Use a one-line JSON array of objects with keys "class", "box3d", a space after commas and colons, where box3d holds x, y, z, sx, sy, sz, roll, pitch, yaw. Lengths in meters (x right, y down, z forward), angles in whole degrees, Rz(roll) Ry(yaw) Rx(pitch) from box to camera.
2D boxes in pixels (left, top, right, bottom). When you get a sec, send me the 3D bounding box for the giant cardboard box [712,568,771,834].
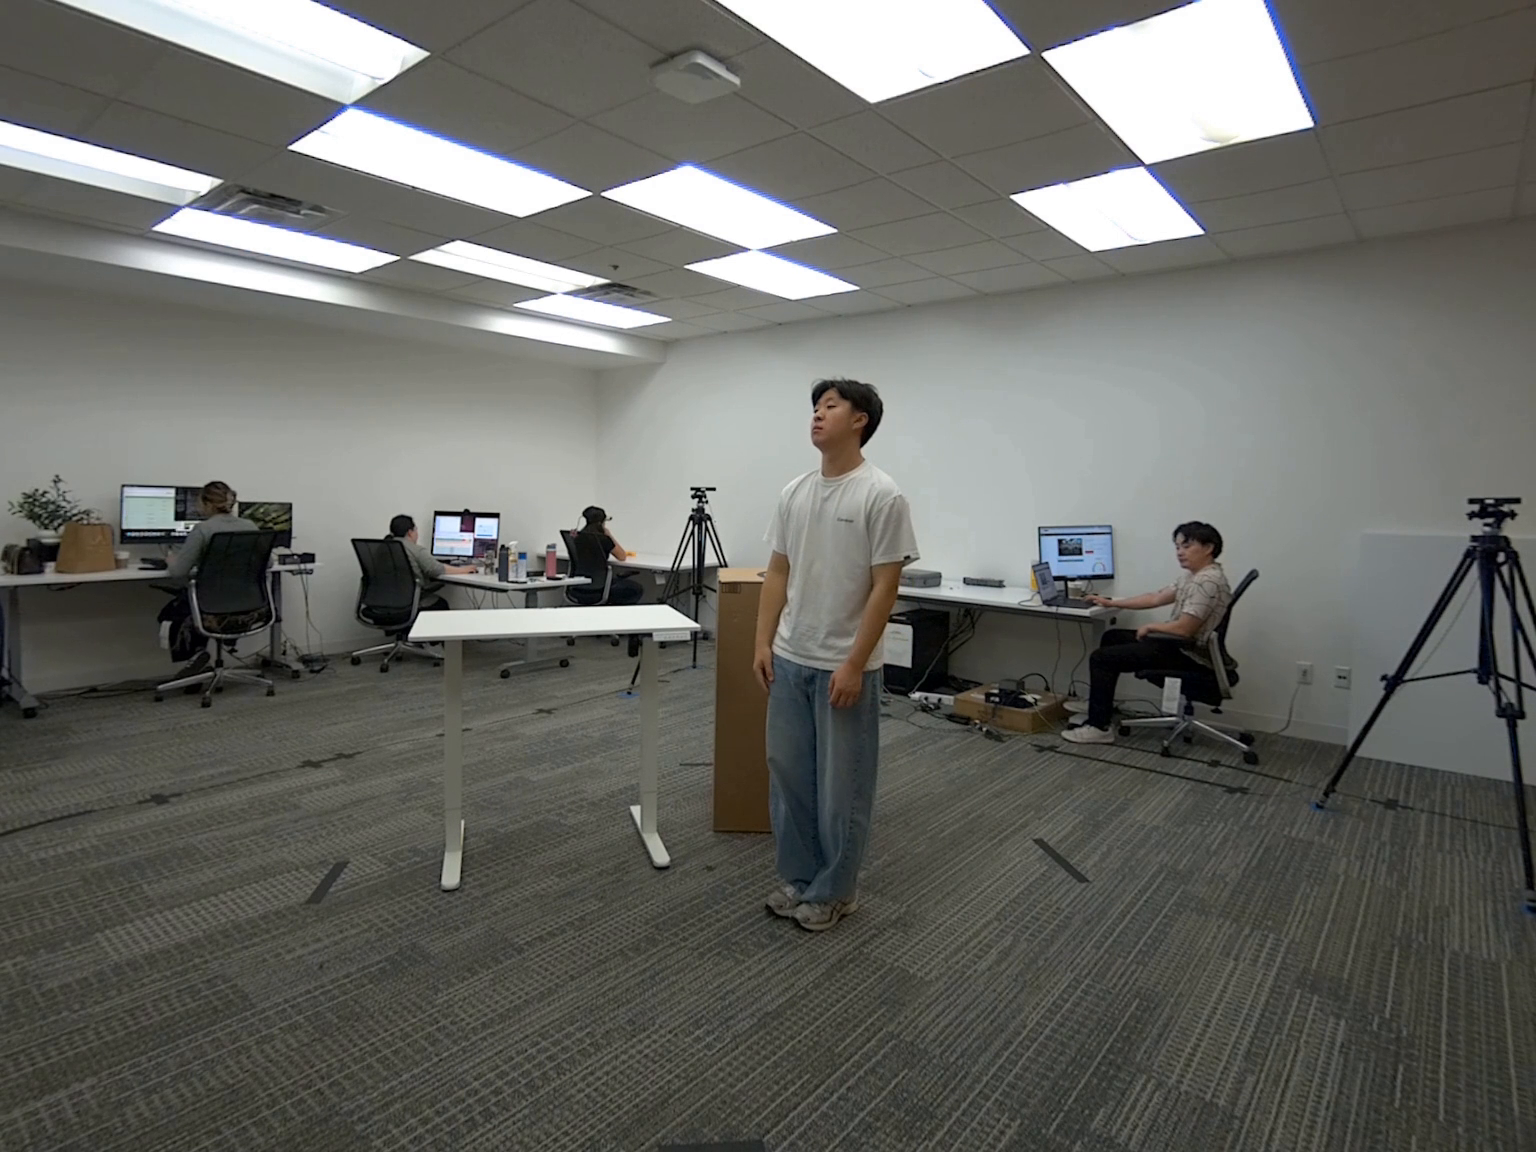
[{"class": "giant cardboard box", "box3d": [-0.026, 0.502, 3.703, 0.426, 1.023, 0.580, 1, 3, -2]}]
